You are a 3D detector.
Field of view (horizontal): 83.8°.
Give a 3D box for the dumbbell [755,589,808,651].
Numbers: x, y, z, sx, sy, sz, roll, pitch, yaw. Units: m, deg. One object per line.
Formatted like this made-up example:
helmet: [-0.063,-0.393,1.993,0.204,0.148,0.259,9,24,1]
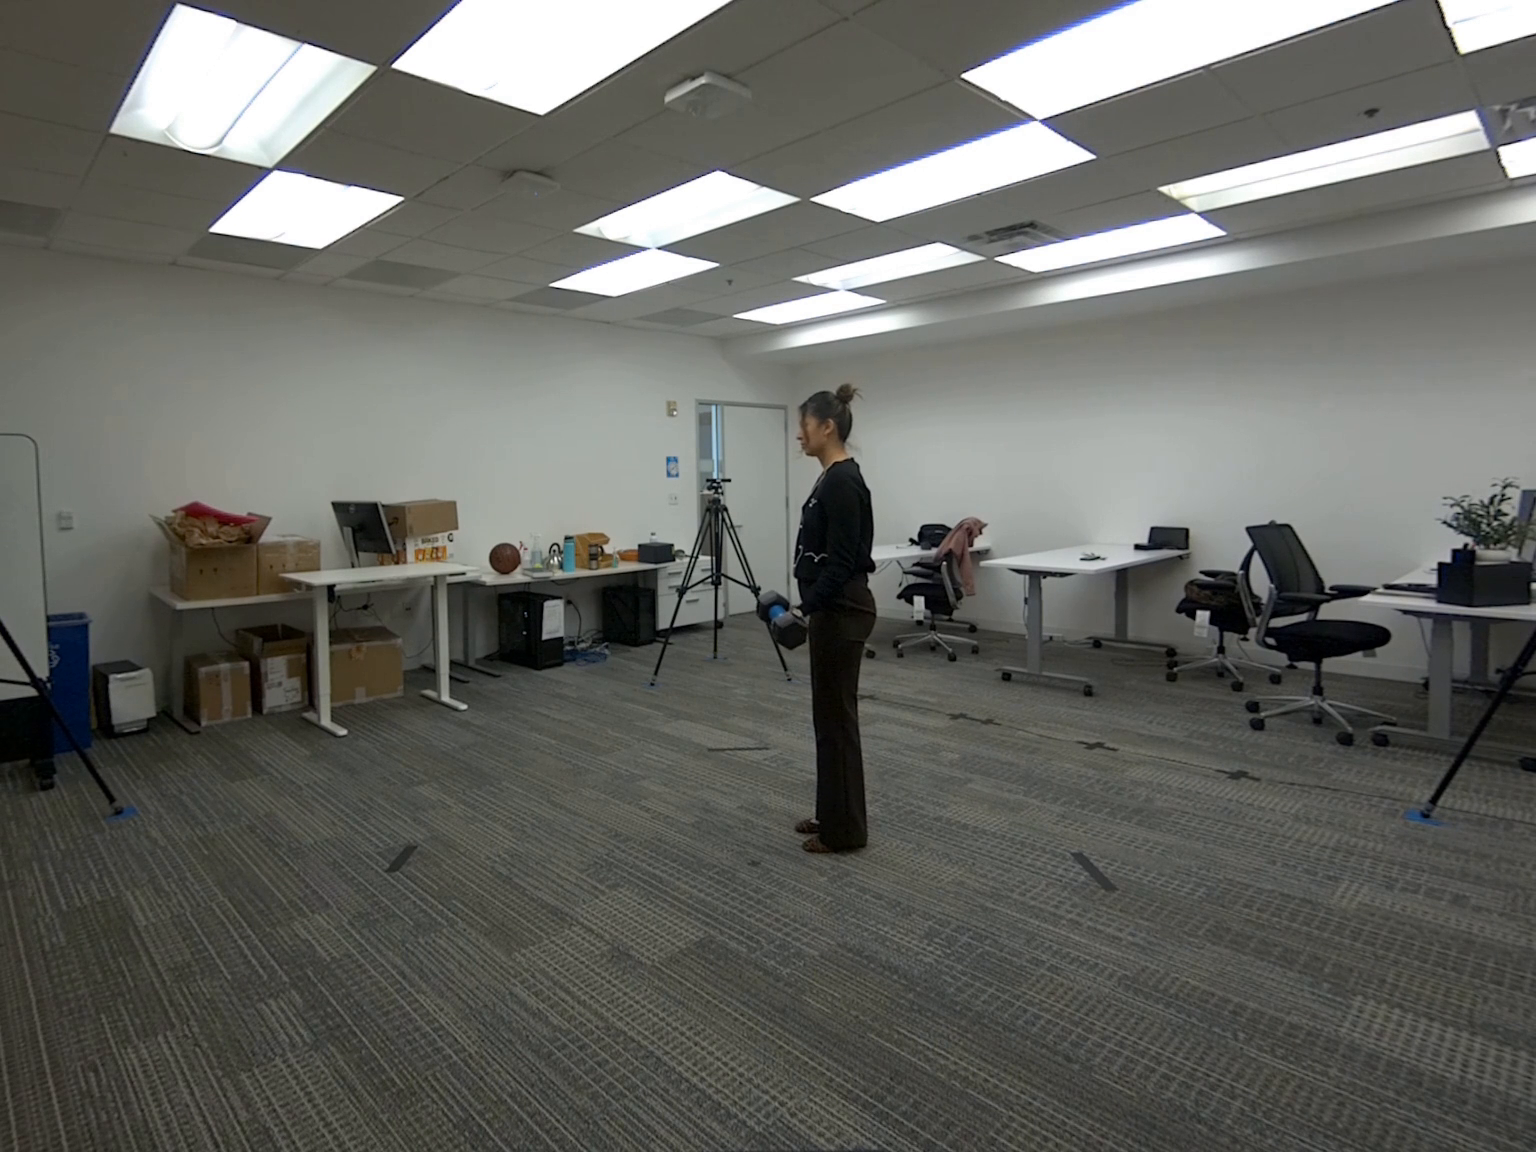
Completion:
dumbbell: [0.050,0.140,3.010,0.122,0.106,0.301,-27,23,-6]
